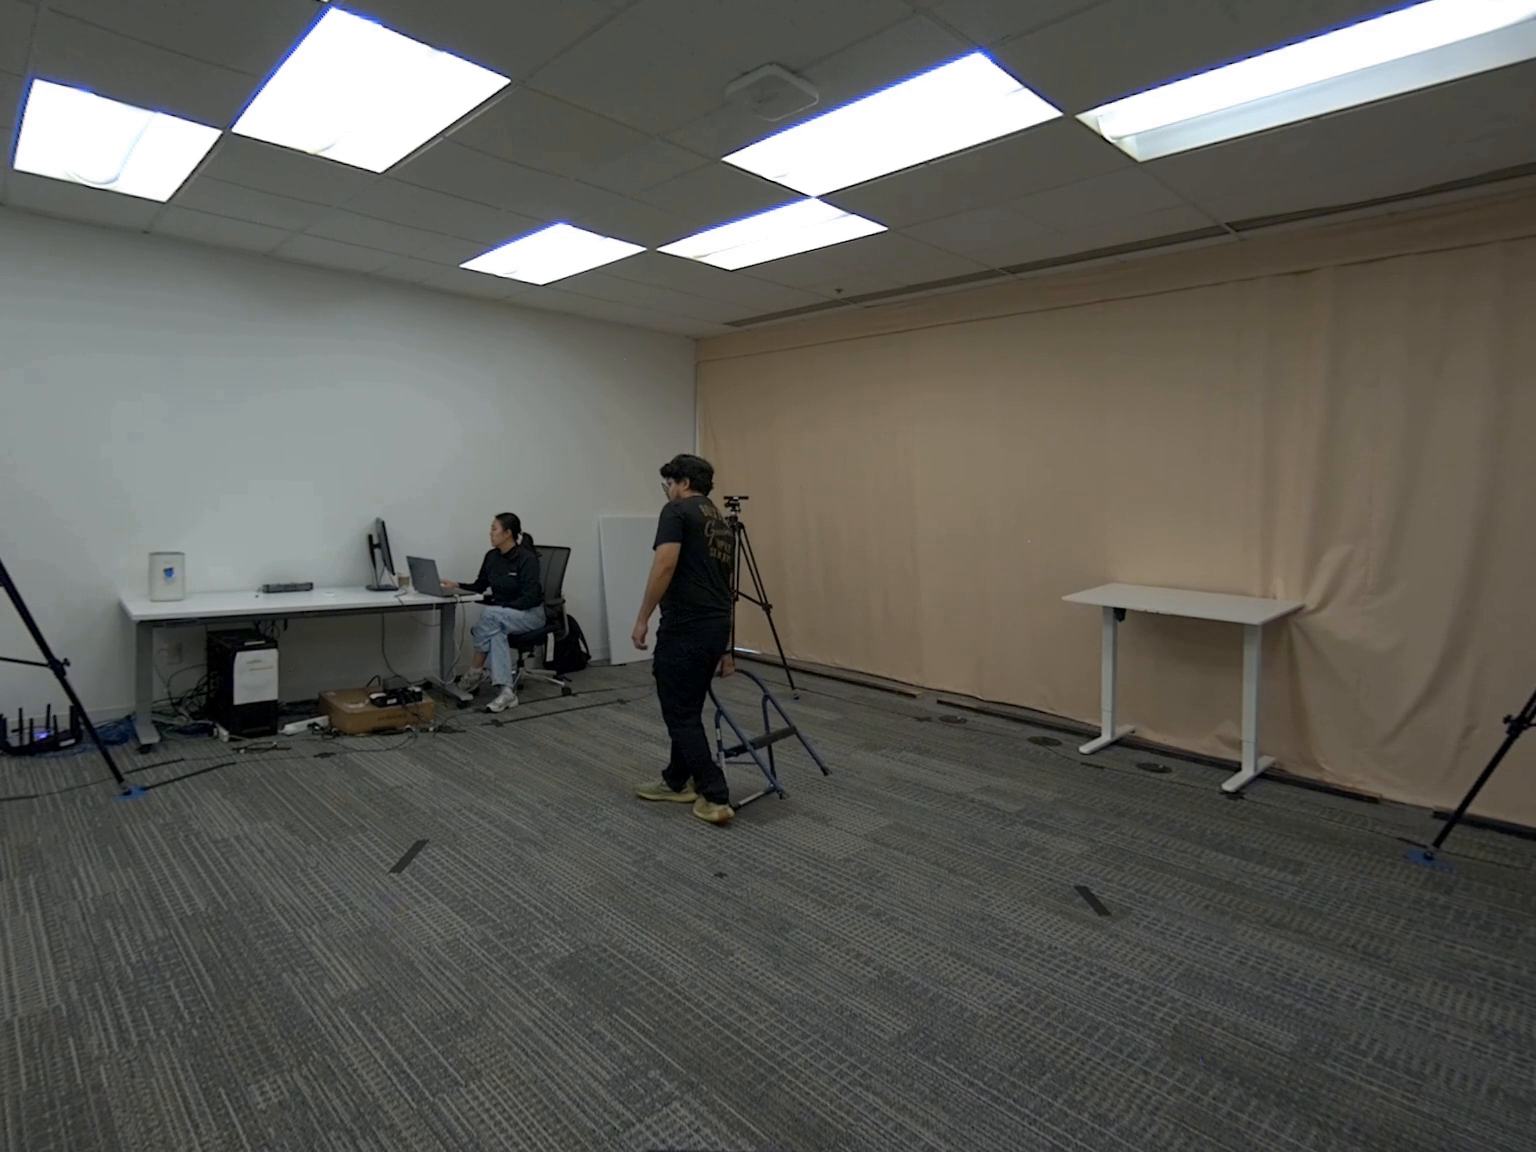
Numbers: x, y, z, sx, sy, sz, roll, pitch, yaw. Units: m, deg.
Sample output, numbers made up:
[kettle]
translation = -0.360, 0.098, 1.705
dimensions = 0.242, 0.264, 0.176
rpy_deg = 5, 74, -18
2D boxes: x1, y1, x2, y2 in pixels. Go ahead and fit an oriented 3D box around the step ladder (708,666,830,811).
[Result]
[step ladder]
translation = -0.056, 0.700, 3.864
dimensions = 0.352, 0.613, 0.422
rpy_deg = -27, -12, 29
